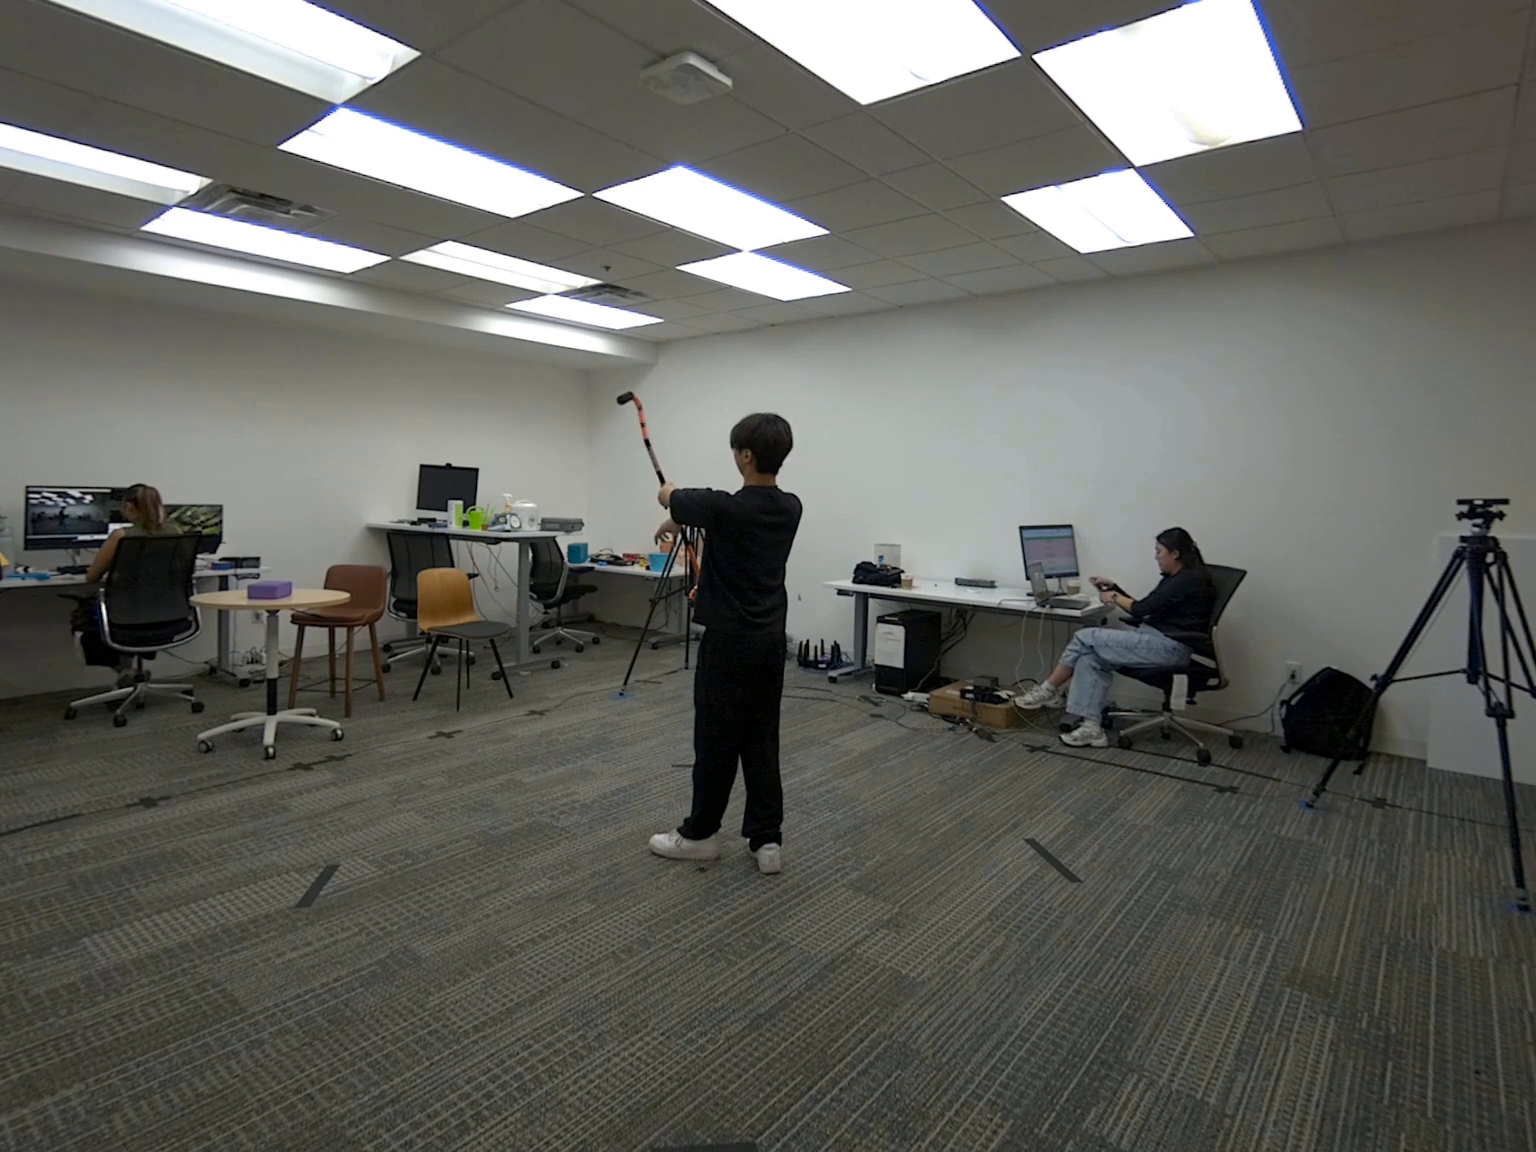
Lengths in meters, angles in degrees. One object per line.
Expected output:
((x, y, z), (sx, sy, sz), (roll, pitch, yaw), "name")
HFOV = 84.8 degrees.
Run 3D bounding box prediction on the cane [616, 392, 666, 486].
((-0.409, -0.336, 3.493), (0.154, 0.893, 0.206), (-15, 14, 22), "cane")
